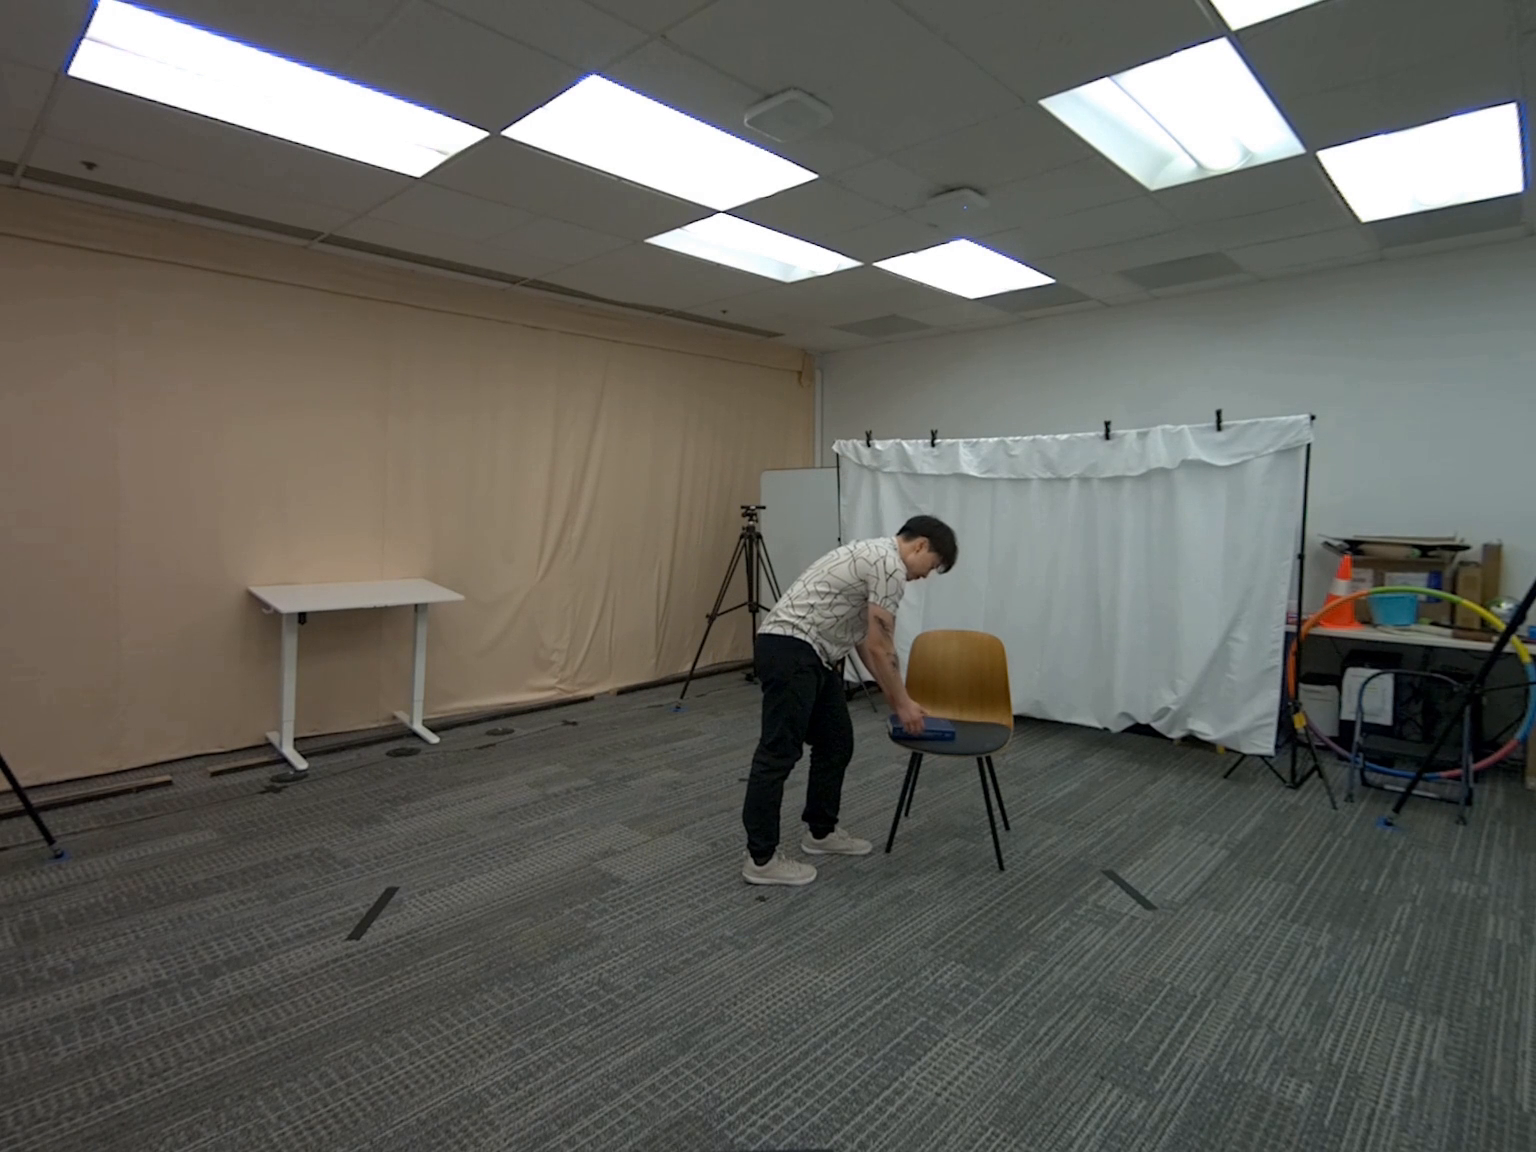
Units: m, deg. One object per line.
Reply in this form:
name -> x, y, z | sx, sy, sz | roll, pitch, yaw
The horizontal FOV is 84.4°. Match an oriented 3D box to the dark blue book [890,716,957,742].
dark blue book -> 0.612, 0.604, 3.330 | 0.246, 0.045, 0.163 | 4, 6, 3
